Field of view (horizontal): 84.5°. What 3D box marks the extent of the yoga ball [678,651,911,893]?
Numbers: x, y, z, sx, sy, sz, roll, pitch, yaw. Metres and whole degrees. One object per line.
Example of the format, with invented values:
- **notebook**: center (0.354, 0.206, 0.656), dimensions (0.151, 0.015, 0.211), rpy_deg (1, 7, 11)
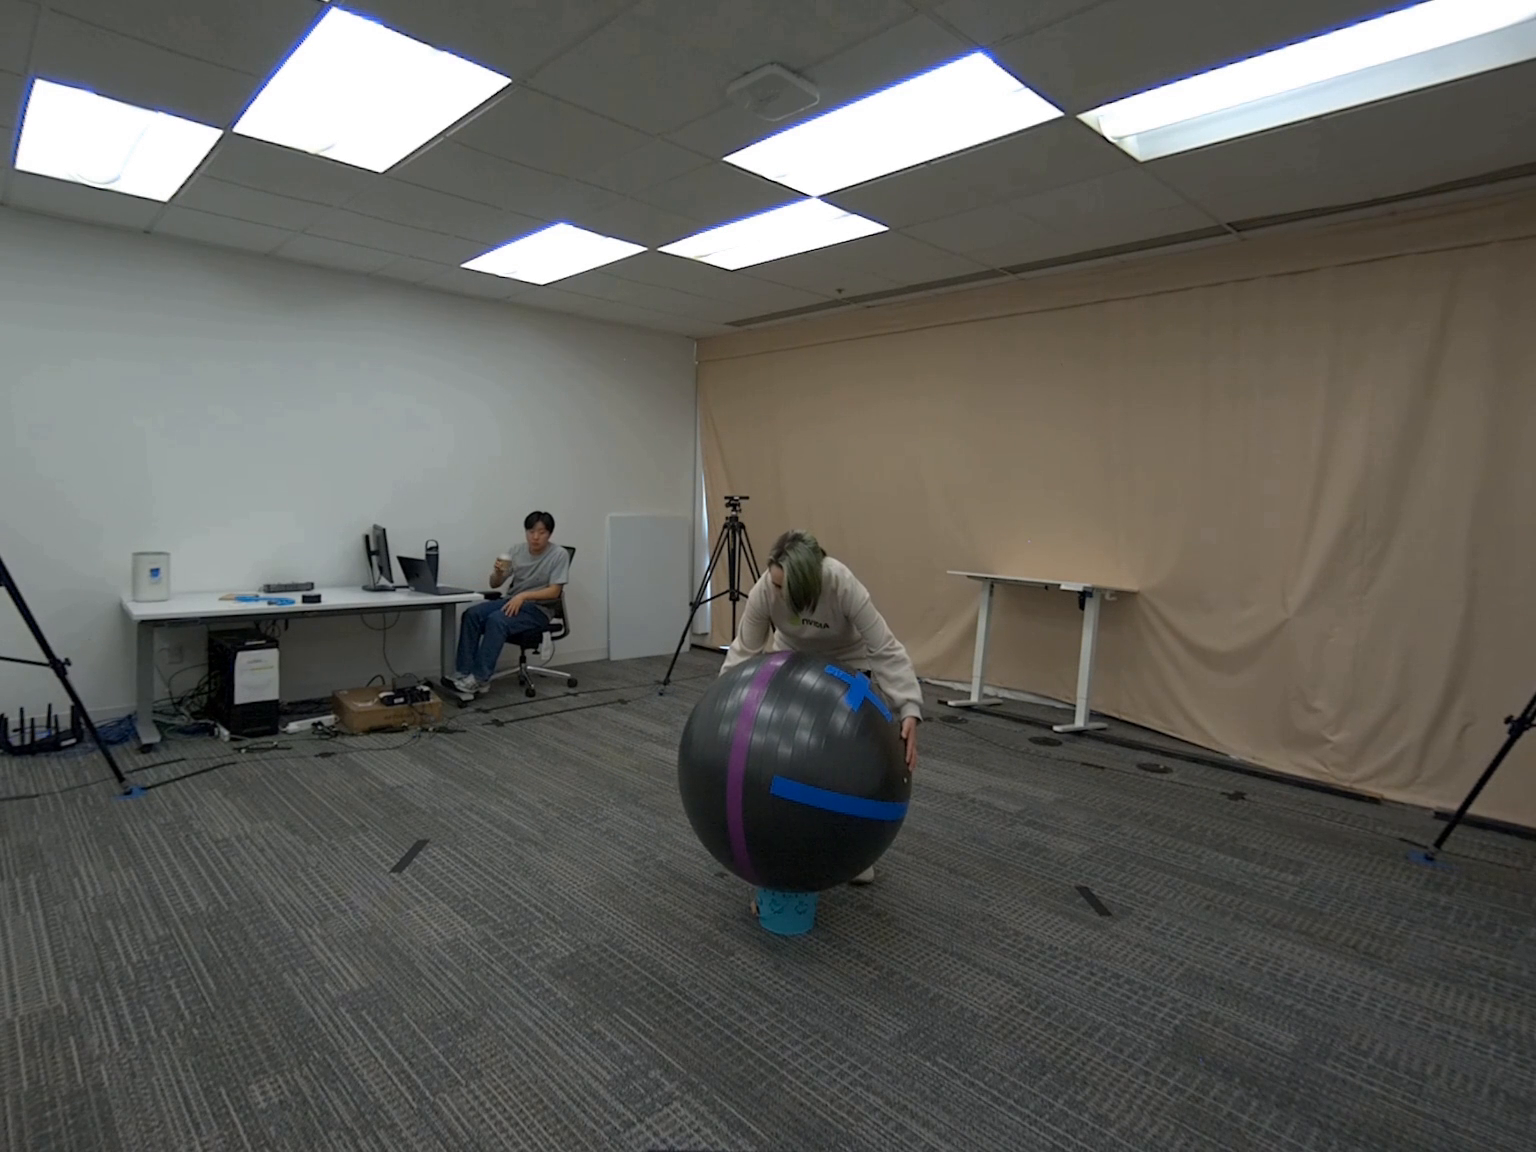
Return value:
- **yoga ball**: center (0.080, 0.627, 2.744), dimensions (0.757, 0.756, 0.761), rpy_deg (1, 4, -1)
